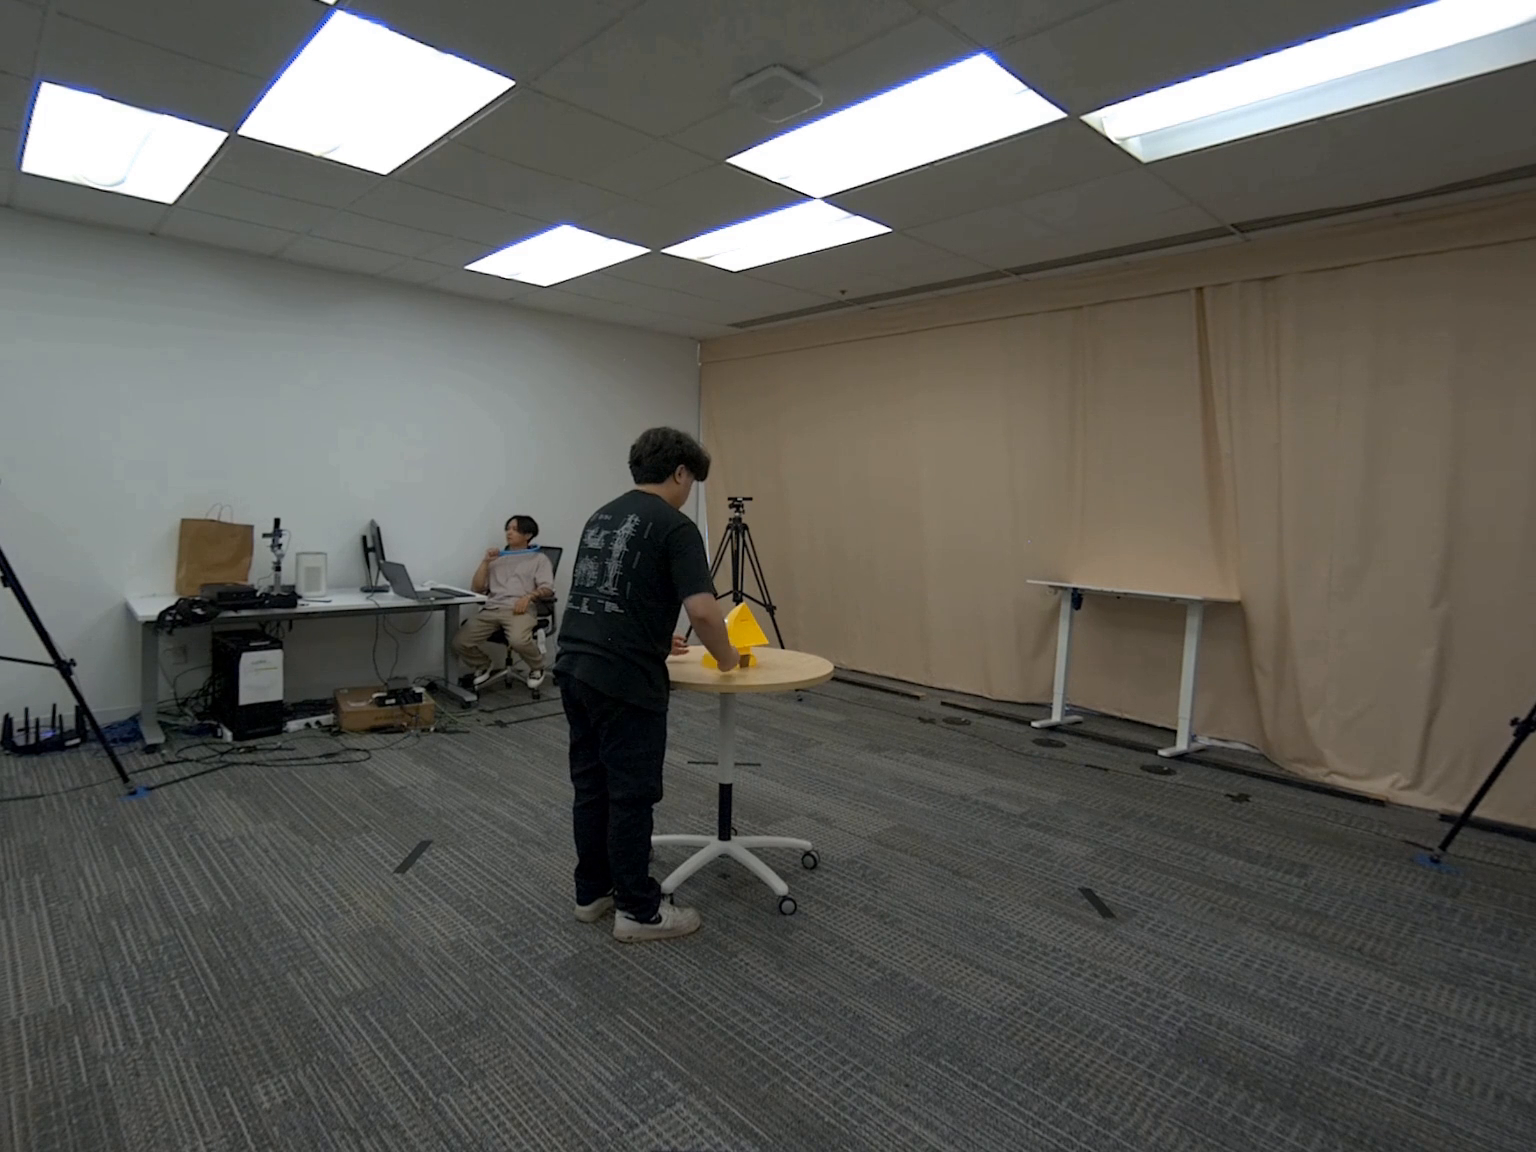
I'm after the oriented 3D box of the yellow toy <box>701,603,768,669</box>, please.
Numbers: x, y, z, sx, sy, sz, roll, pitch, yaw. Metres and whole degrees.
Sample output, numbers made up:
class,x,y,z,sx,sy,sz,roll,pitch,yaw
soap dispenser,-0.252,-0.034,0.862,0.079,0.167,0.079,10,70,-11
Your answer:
class,x,y,z,sx,sy,sz,roll,pitch,yaw
yellow toy,-0.144,0.206,3.033,0.198,0.230,0.200,4,4,44
